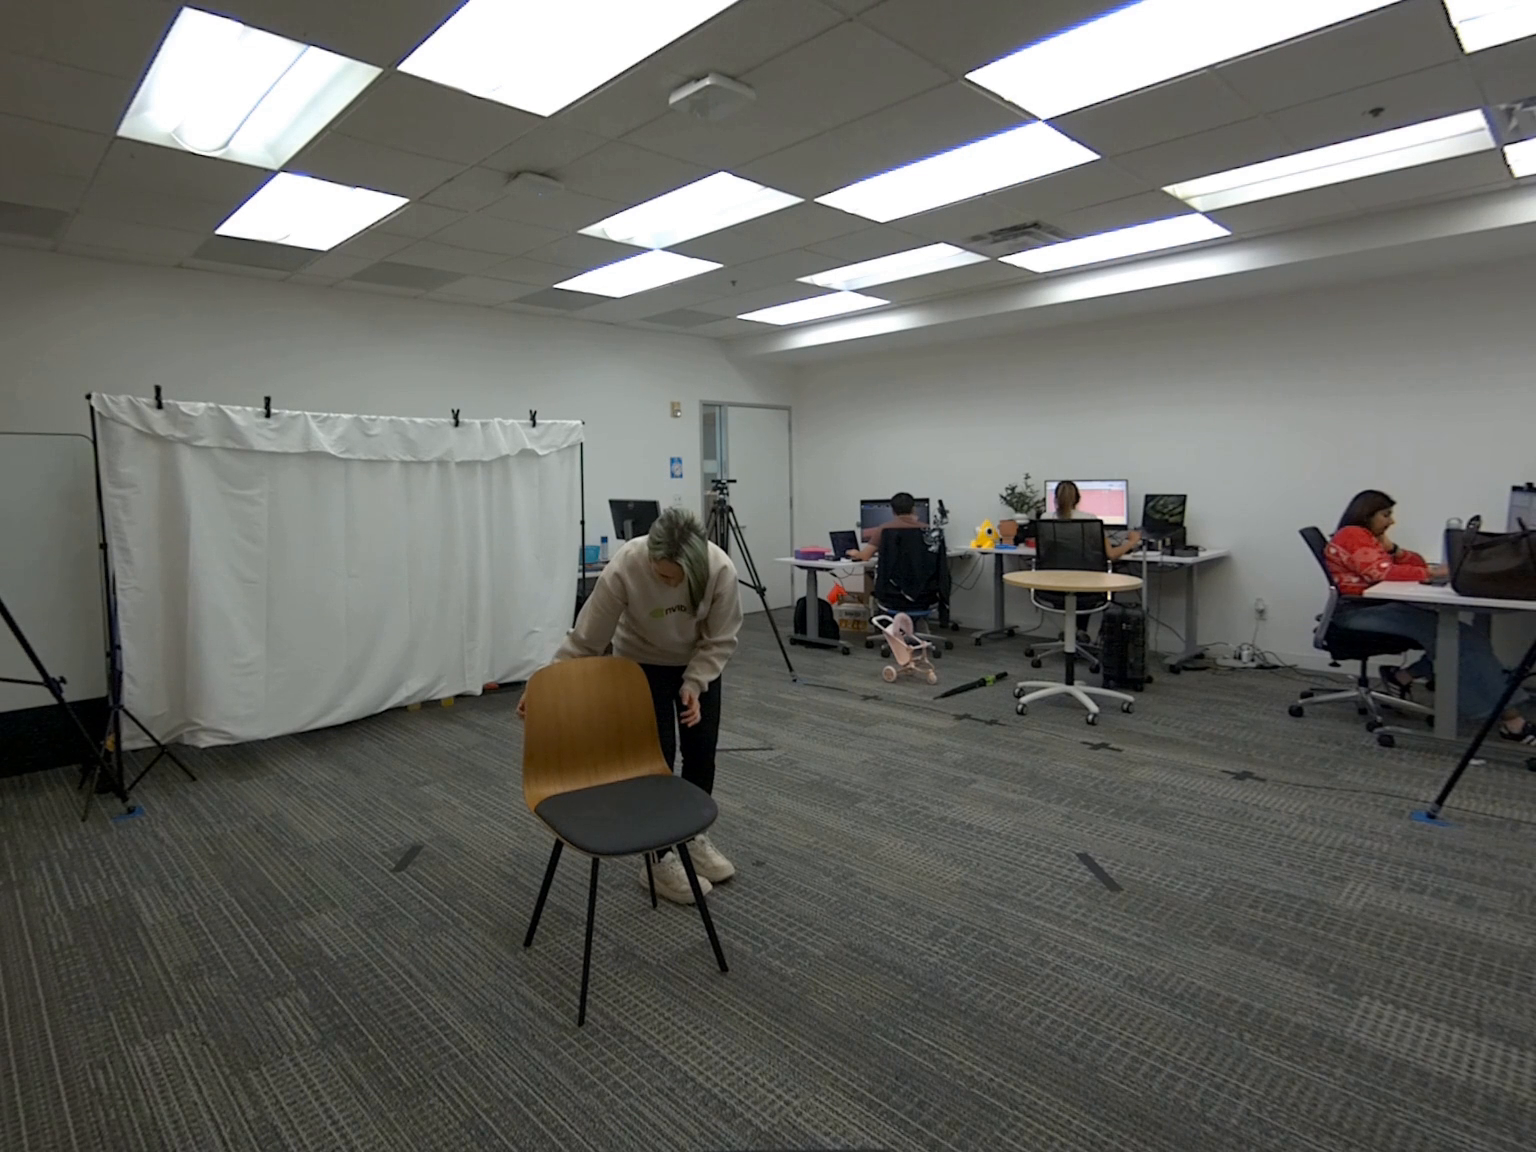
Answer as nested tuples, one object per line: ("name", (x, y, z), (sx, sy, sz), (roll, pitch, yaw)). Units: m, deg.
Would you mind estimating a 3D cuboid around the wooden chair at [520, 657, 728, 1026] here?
("wooden chair", (-0.426, 0.704, 2.467), (0.466, 0.877, 0.537), (-4, 1, -33))
